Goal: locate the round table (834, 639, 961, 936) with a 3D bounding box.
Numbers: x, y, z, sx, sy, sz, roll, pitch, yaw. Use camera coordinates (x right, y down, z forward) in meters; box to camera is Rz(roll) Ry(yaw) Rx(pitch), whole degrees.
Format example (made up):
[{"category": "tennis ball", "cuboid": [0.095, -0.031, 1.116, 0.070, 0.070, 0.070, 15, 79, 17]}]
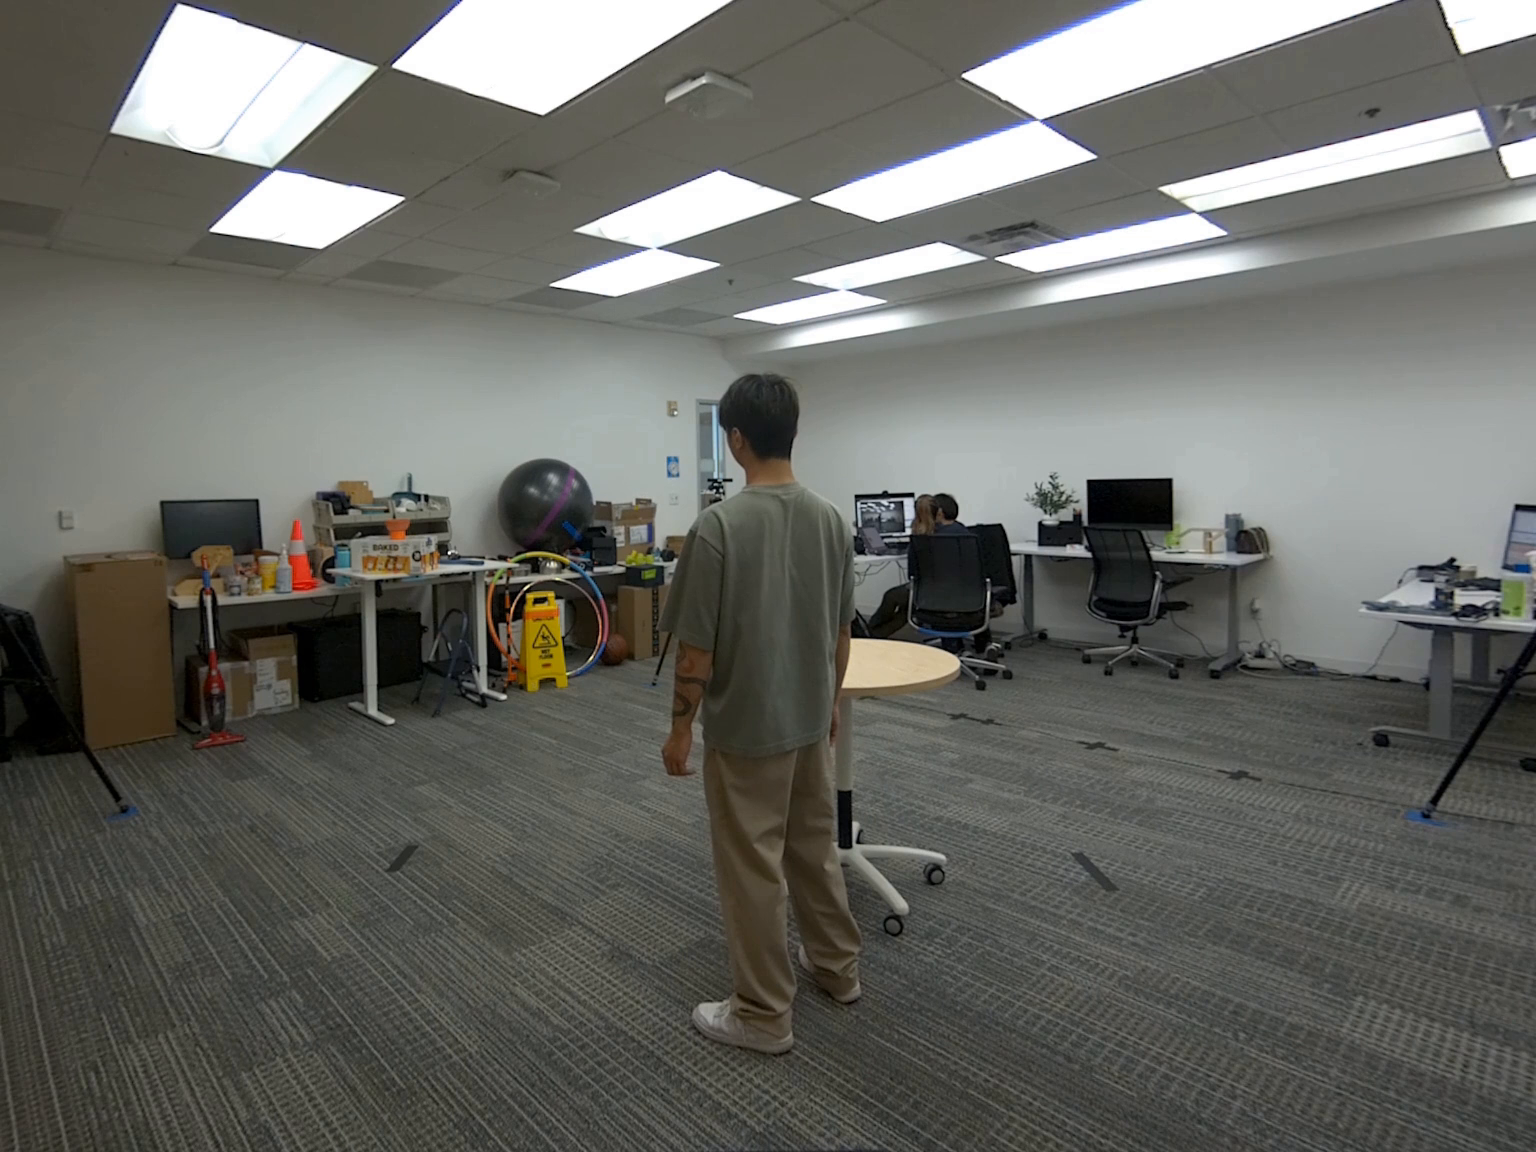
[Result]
[{"category": "round table", "cuboid": [0.272, 0.677, 2.896, 0.763, 0.791, 0.768, -1, 5, -2]}]
